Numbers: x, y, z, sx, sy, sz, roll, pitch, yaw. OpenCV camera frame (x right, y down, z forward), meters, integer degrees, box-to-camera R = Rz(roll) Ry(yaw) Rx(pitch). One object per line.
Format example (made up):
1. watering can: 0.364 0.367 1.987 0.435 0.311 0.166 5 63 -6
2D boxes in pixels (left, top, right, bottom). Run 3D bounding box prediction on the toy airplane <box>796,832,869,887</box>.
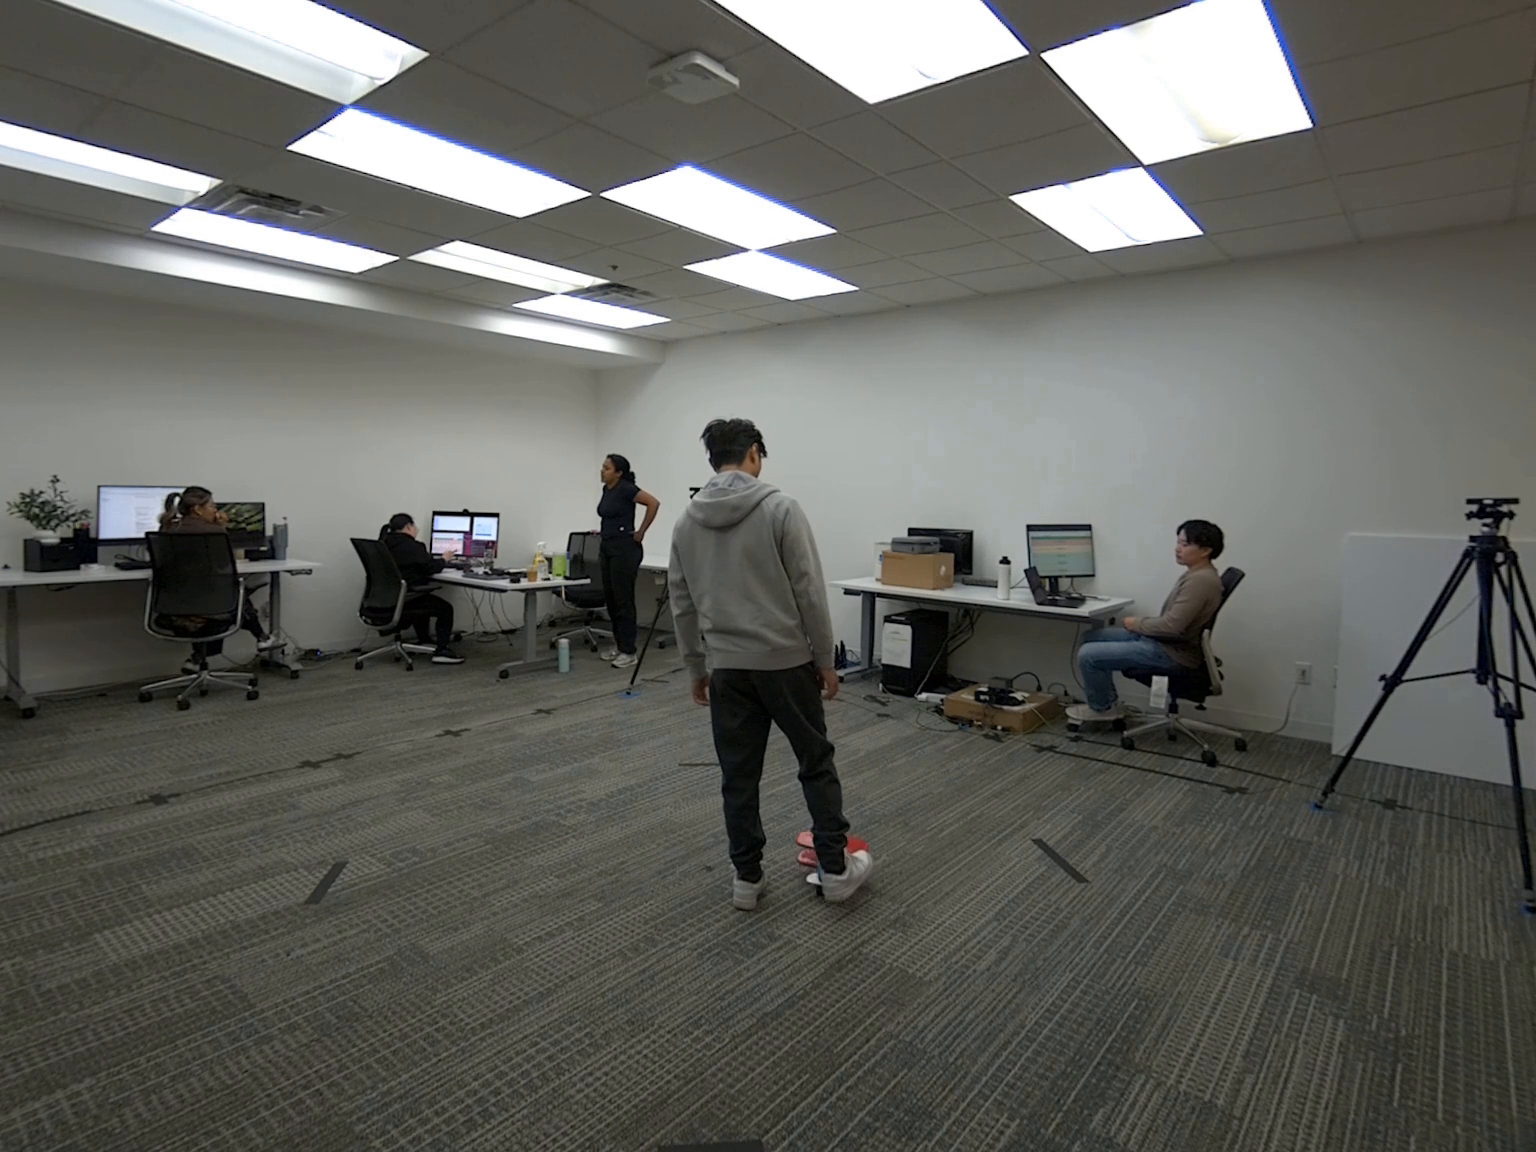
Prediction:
1. toy airplane: 0.223 1.002 3.003 0.248 0.156 0.263 0 4 -12
